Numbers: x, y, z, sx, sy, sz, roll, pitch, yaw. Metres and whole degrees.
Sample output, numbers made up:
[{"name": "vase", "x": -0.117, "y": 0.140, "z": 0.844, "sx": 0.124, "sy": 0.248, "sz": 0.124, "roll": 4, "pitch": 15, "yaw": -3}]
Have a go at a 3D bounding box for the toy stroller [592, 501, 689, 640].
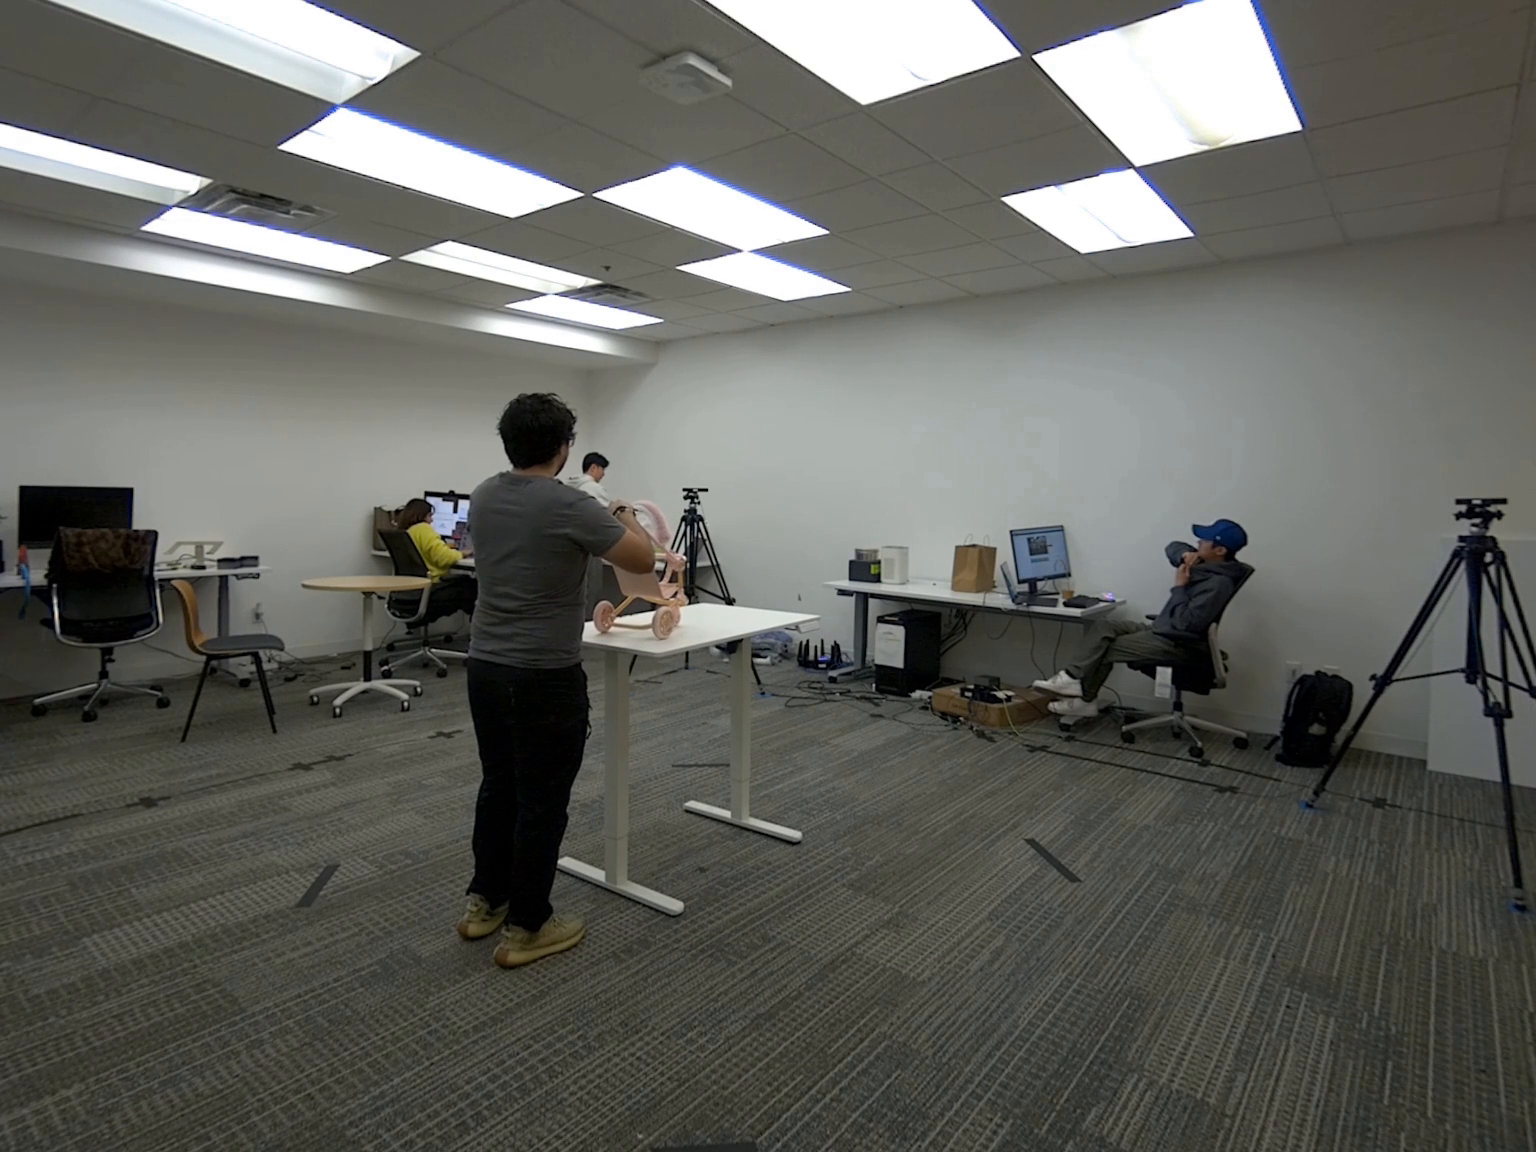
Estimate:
[{"name": "toy stroller", "x": -0.440, "y": -0.026, "z": 2.961, "sx": 0.290, "sy": 0.526, "sz": 0.337, "roll": 4, "pitch": 19, "yaw": 32}]
